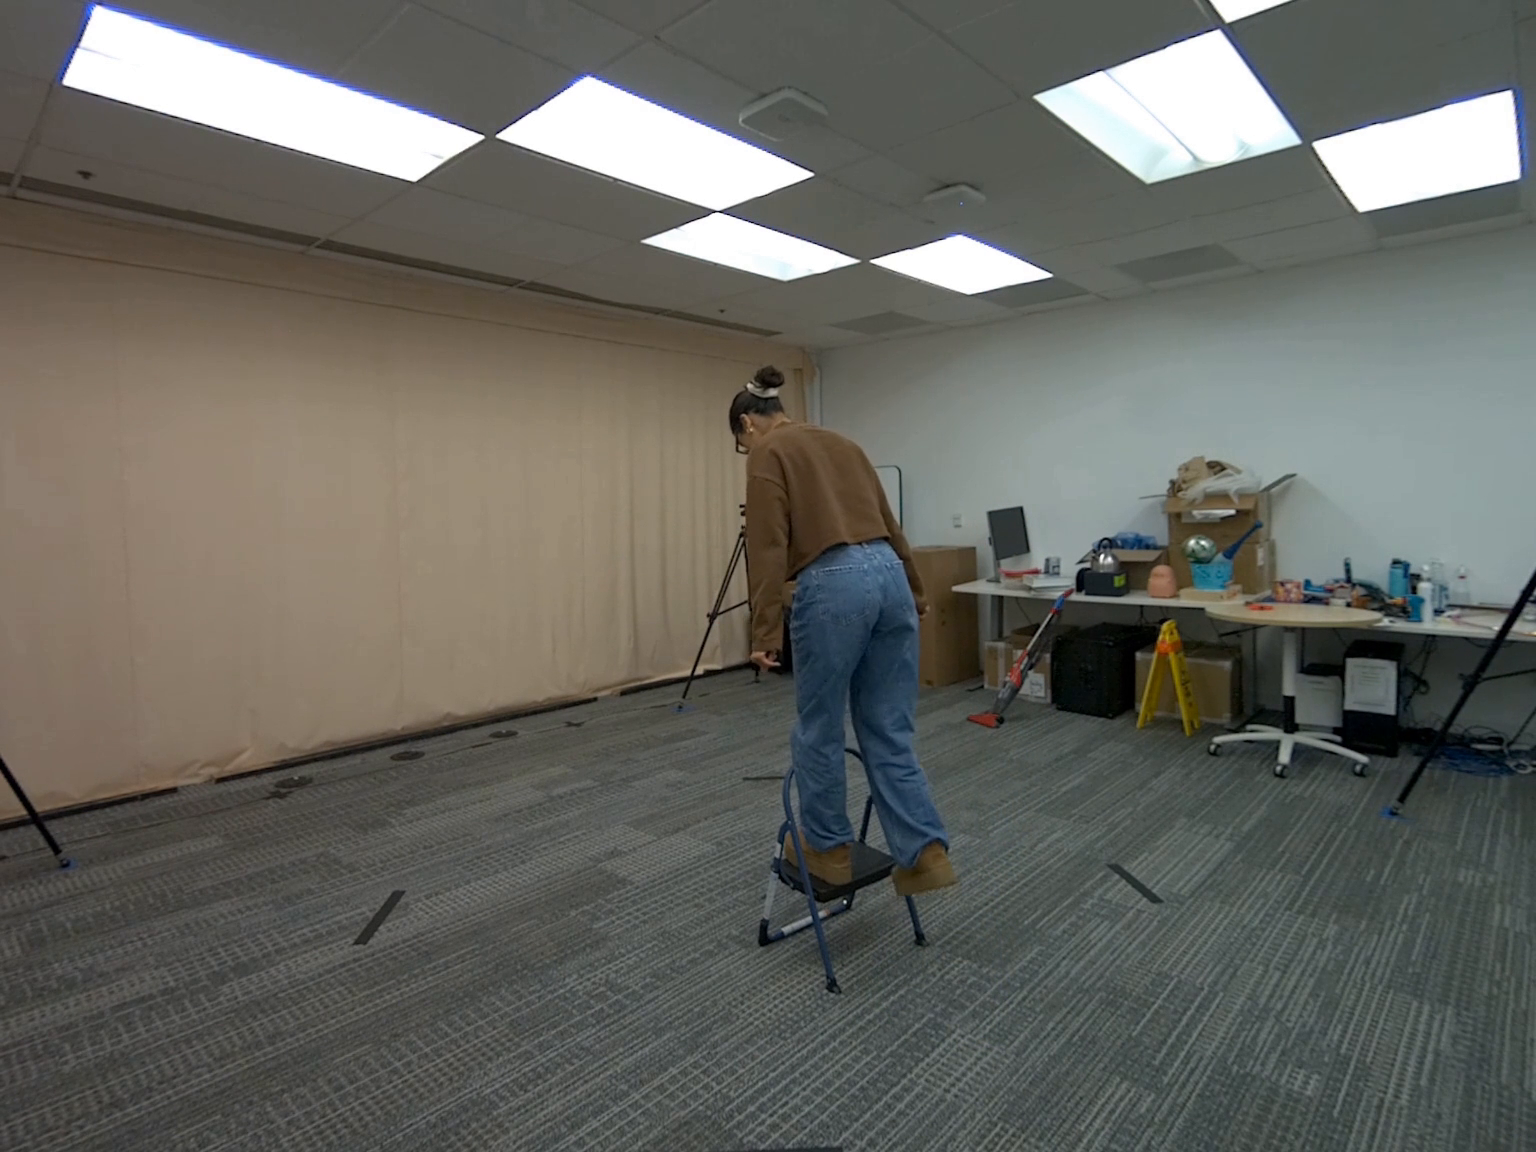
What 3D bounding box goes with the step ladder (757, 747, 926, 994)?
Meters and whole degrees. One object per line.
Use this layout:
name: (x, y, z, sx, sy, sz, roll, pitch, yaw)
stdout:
step ladder: (0.232, 0.864, 2.641, 0.418, 0.605, 0.361, -4, 4, -41)
